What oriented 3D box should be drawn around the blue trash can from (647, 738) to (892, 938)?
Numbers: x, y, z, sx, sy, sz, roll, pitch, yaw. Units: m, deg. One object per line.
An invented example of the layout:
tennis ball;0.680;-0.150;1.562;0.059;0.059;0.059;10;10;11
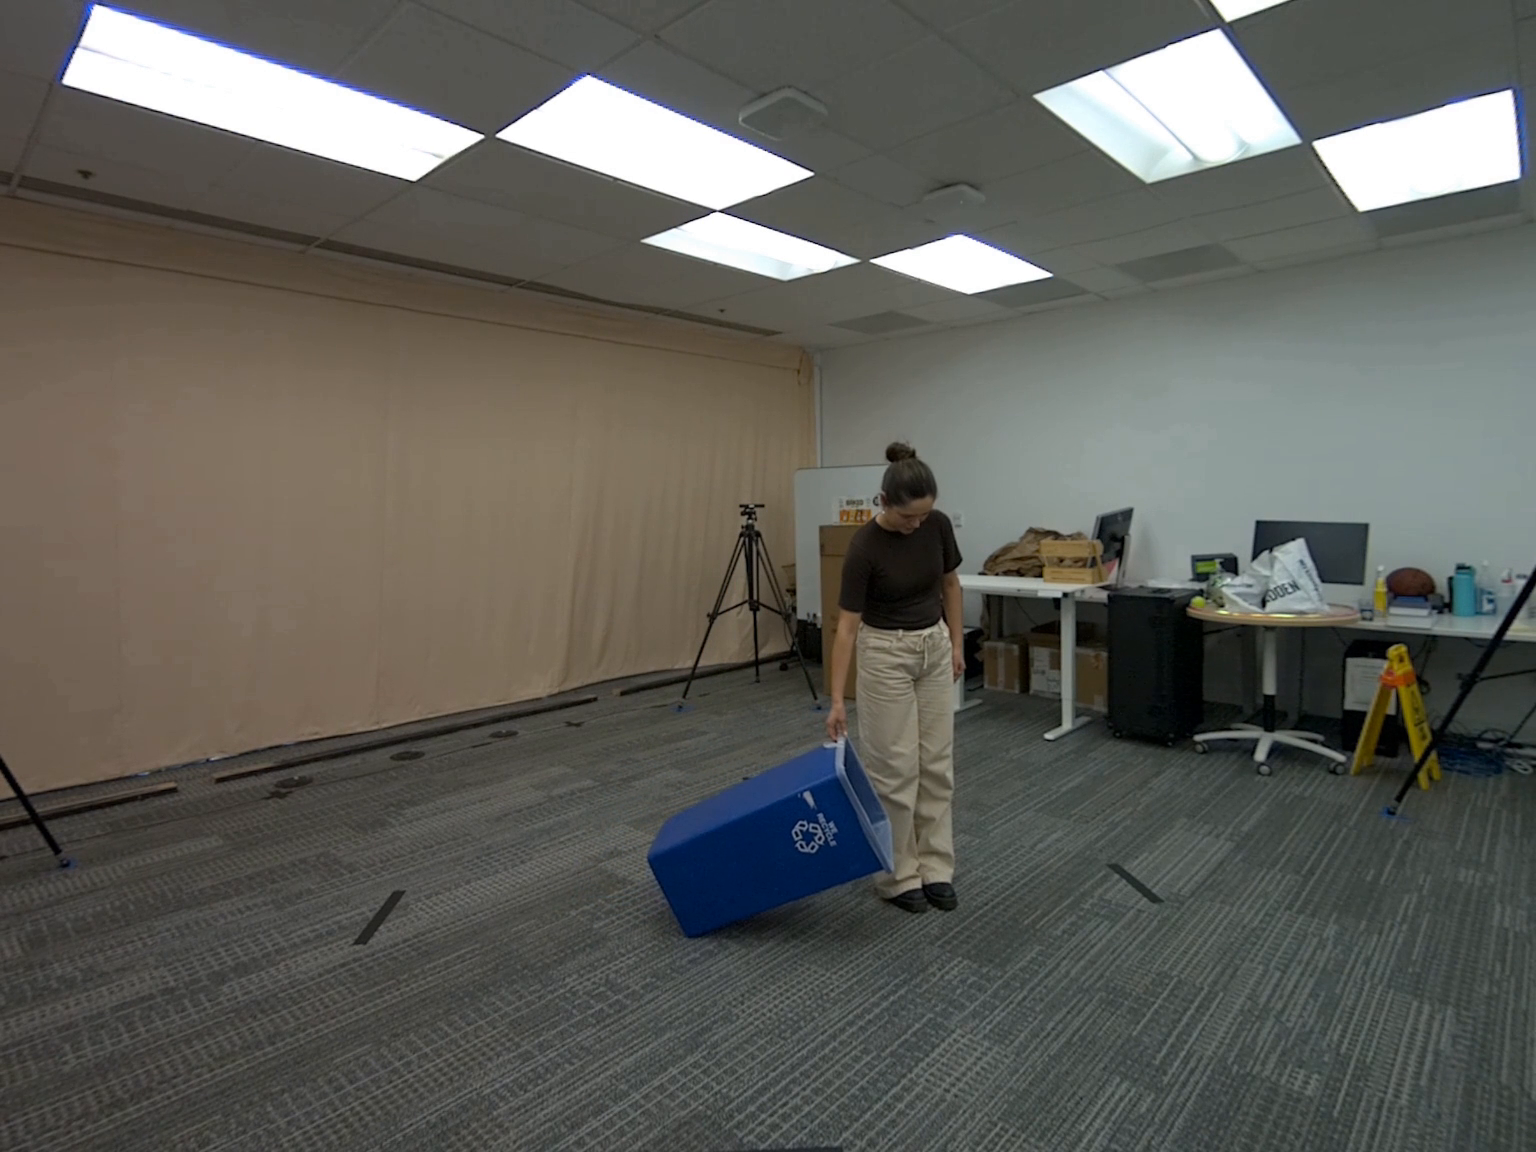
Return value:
blue trash can;0.011;0.863;2.774;0.719;0.373;0.376;-27;3;11
